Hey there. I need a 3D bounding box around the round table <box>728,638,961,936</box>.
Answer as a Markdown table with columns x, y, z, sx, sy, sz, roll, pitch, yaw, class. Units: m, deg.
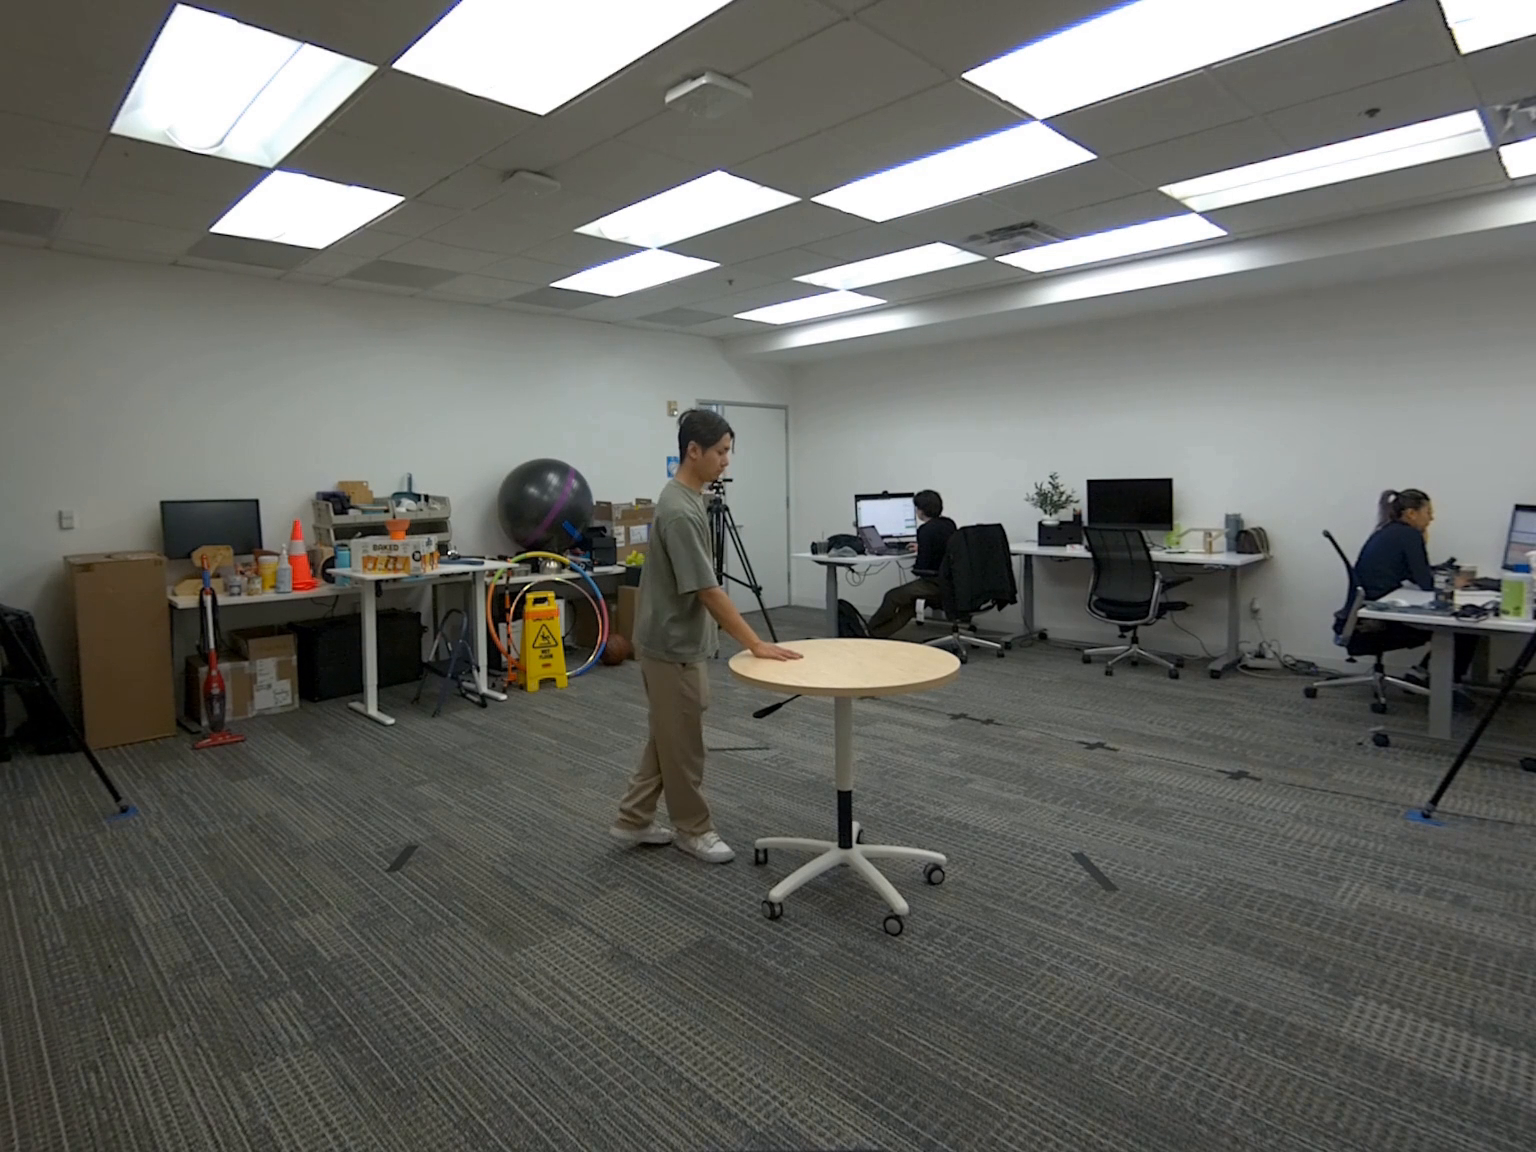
| x | y | z | sx | sy | sz | roll | pitch | yaw | class |
| --- | --- | --- | --- | --- | --- | --- | --- | --- | --- |
| 0.268 | 0.676 | 2.891 | 0.763 | 0.791 | 0.768 | -1 | 5 | -2 | round table |
